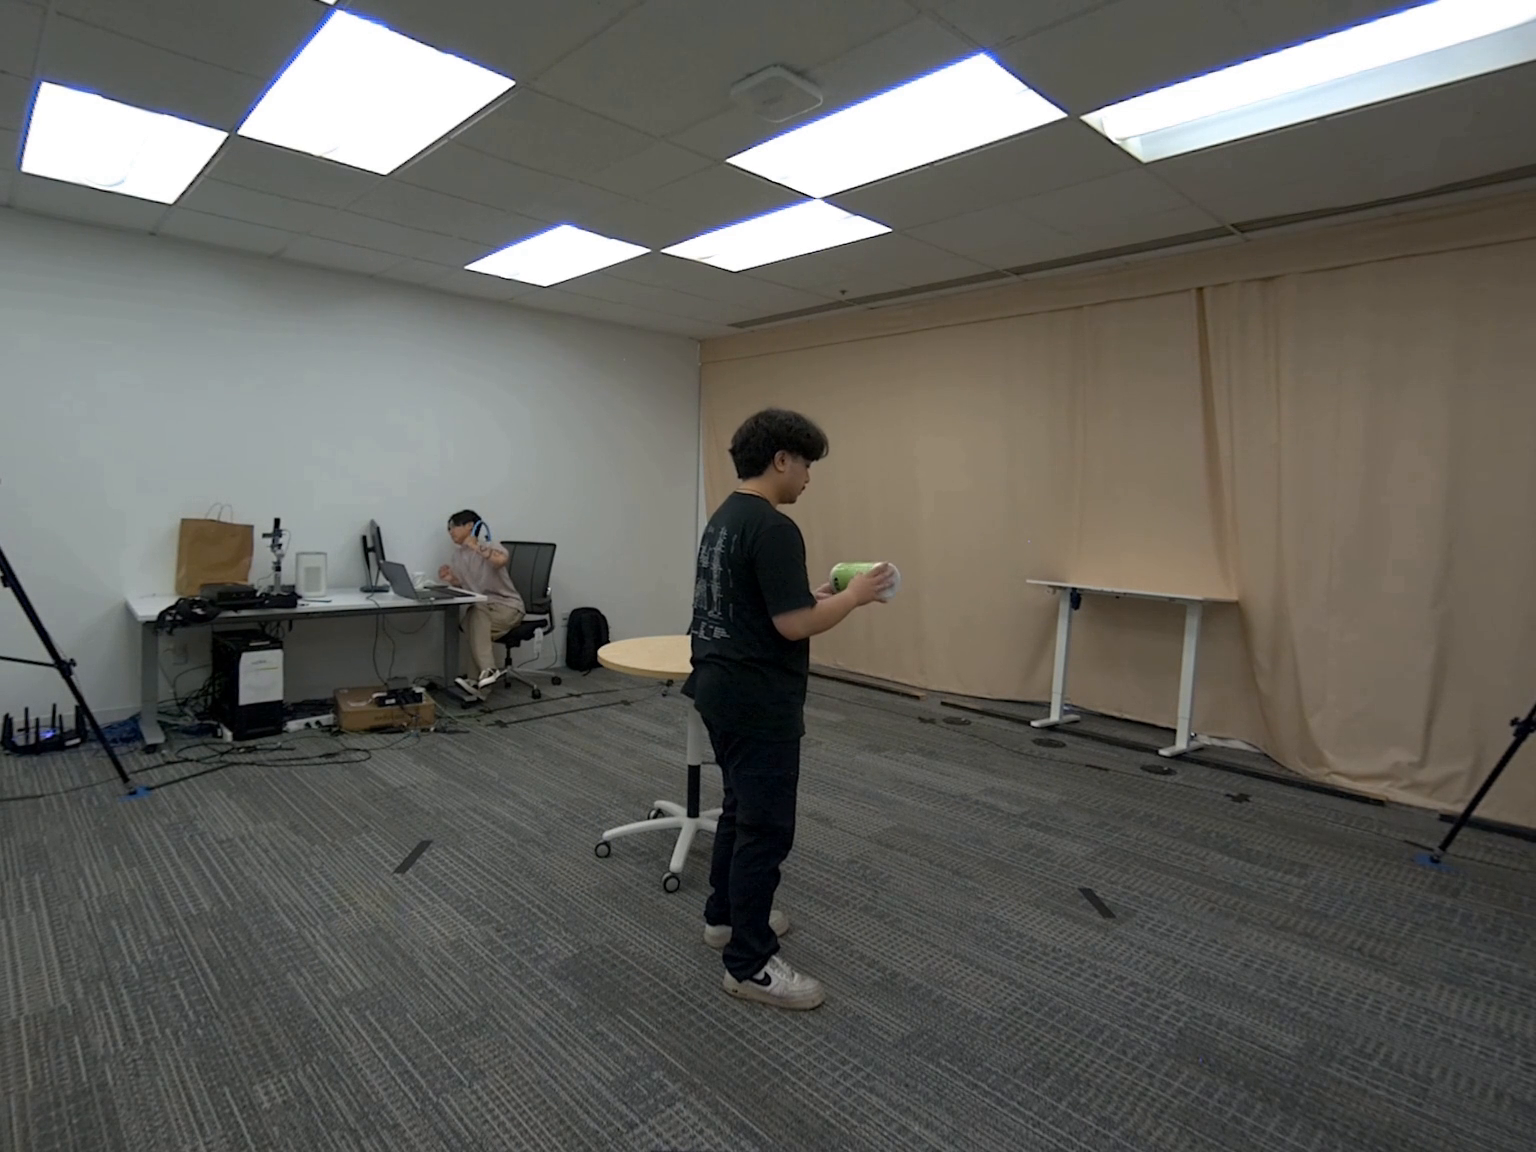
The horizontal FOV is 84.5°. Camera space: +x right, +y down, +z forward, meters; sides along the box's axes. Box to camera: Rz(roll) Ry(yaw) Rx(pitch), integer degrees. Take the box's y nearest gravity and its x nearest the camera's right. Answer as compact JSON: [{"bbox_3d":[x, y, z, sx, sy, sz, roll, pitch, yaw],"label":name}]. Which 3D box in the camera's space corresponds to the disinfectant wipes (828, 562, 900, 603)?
[{"bbox_3d":[0.290,0.016,2.578,0.115,0.118,0.222,-1,1,-34],"label":"disinfectant wipes"}]
